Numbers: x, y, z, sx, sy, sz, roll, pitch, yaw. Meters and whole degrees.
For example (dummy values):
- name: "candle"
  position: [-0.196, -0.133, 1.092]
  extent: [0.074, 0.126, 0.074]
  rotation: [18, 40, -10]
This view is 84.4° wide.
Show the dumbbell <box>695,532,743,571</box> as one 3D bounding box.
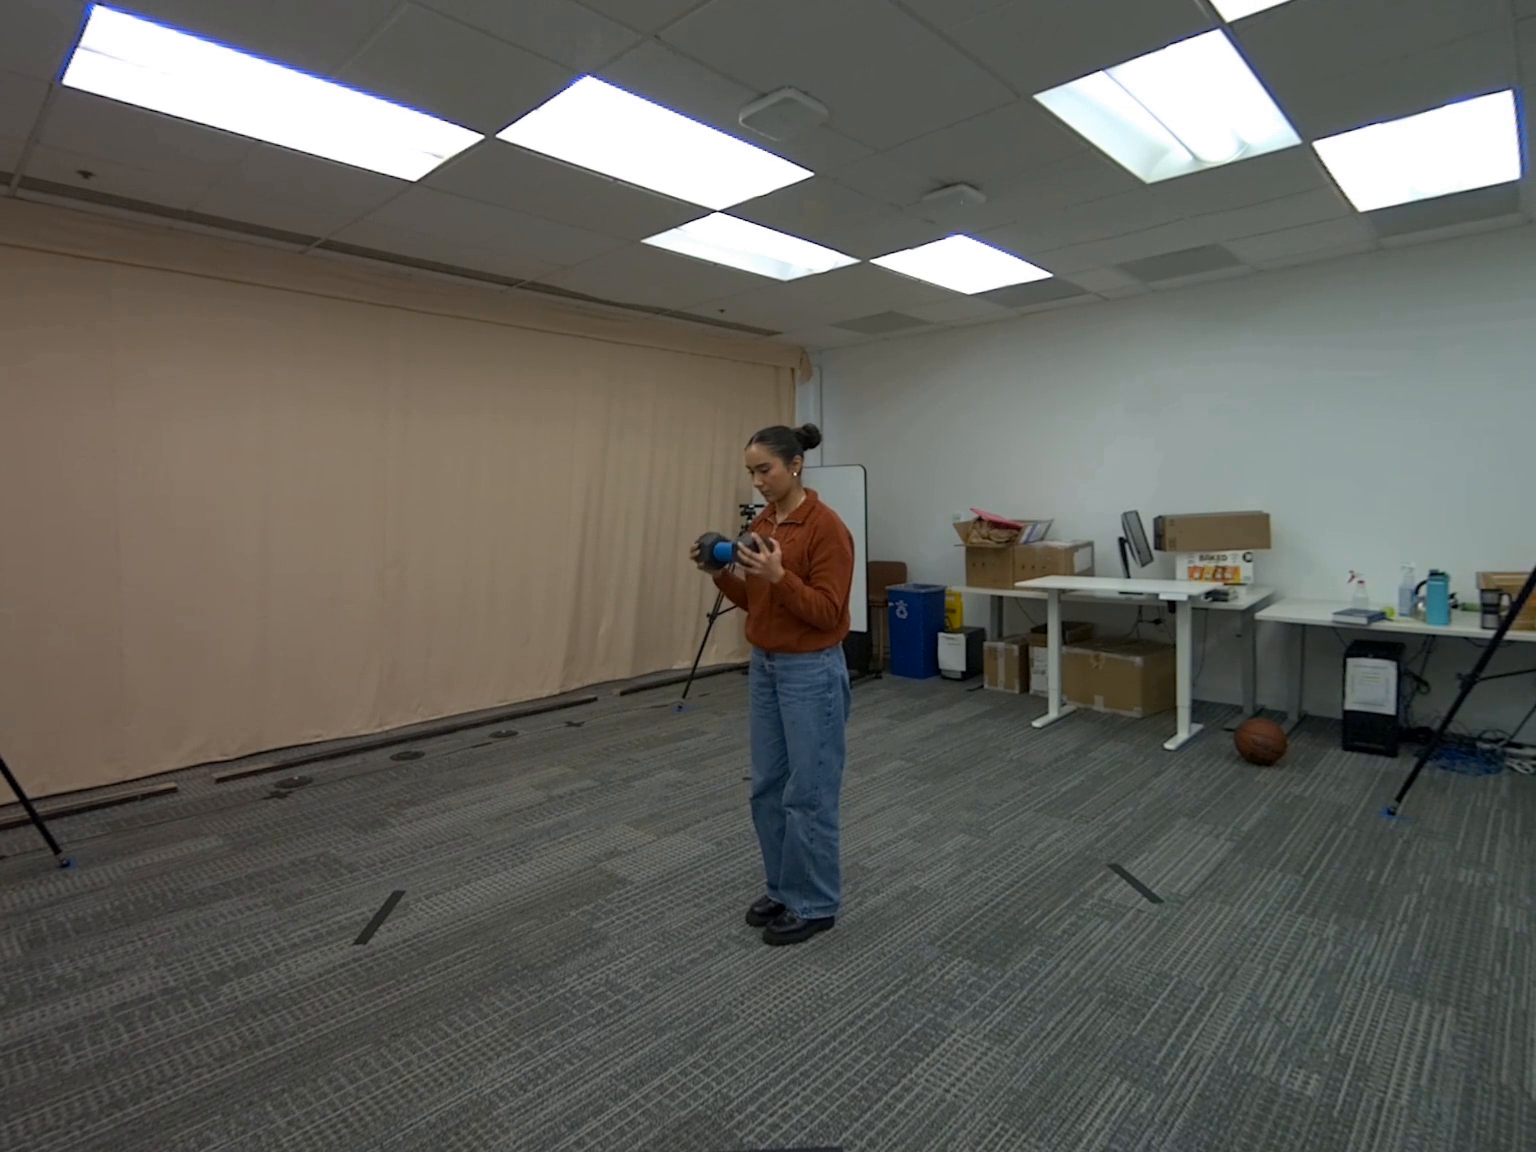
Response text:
- name: "dumbbell"
  position: [-0.093, -0.061, 2.605]
  extent: [0.119, 0.109, 0.303]
  rotation: [32, -16, -35]
